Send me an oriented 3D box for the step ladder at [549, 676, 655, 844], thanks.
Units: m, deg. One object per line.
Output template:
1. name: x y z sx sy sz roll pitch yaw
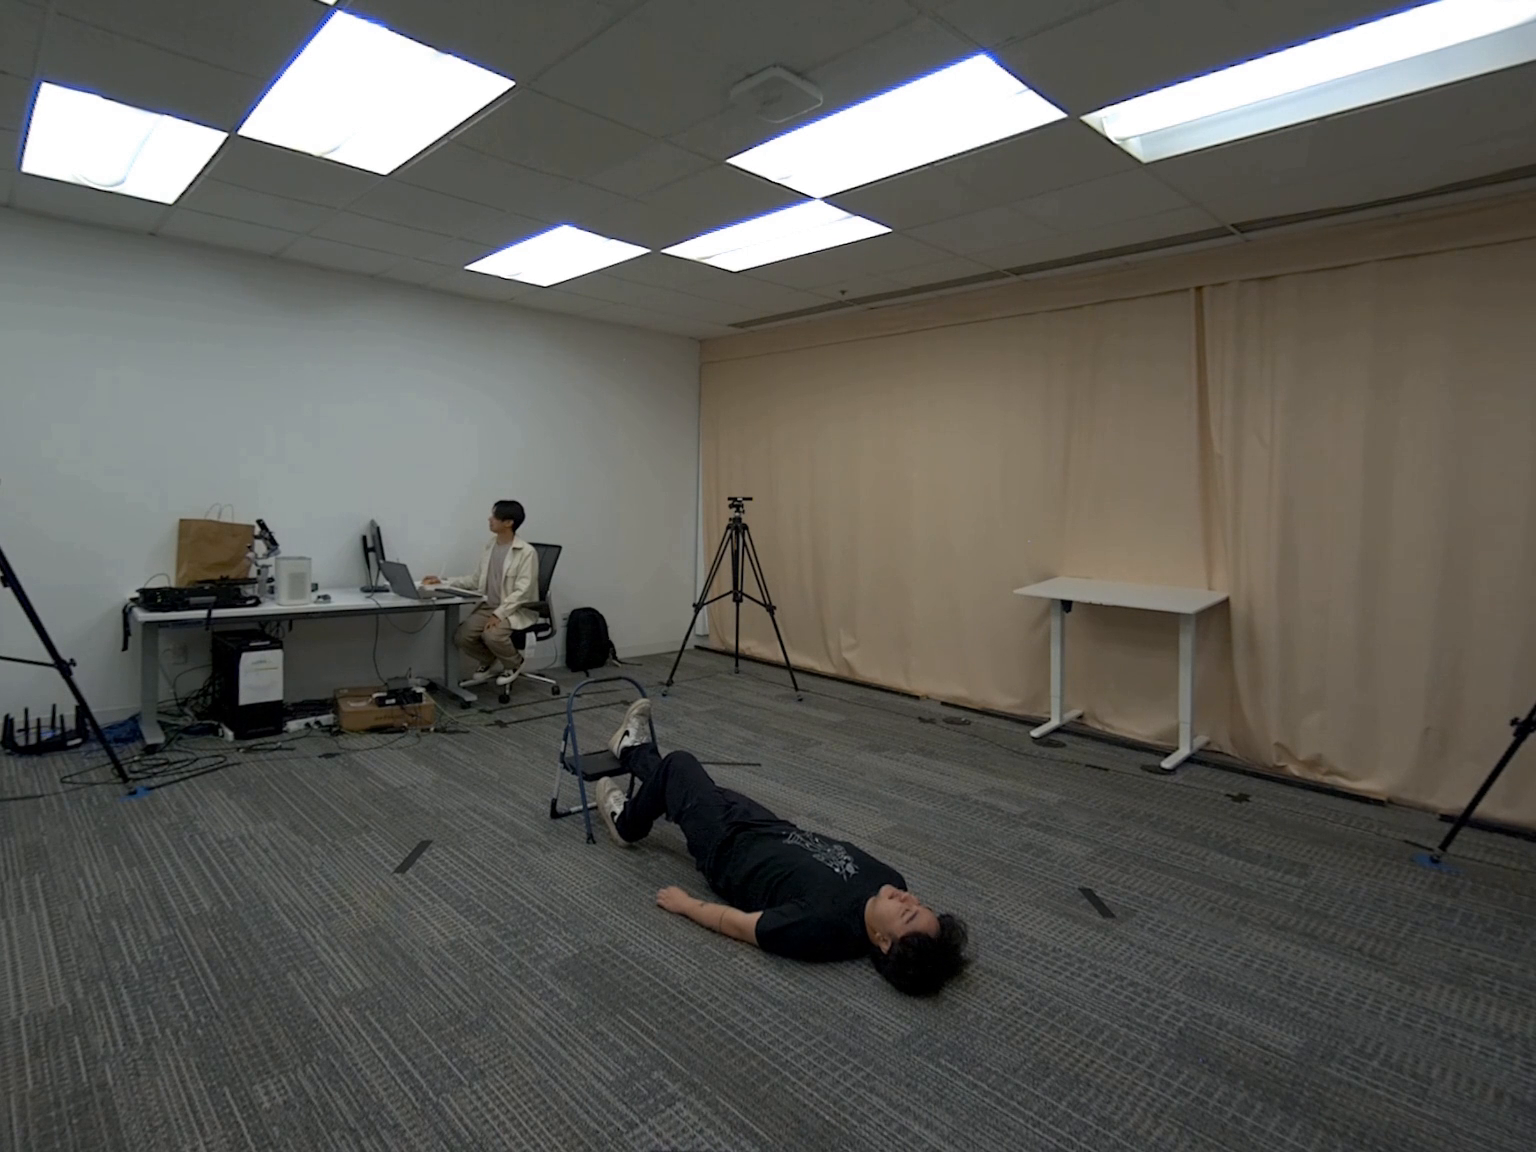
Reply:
1. step ladder: -0.677 0.752 3.620 0.421 0.604 0.358 -1 5 -43
